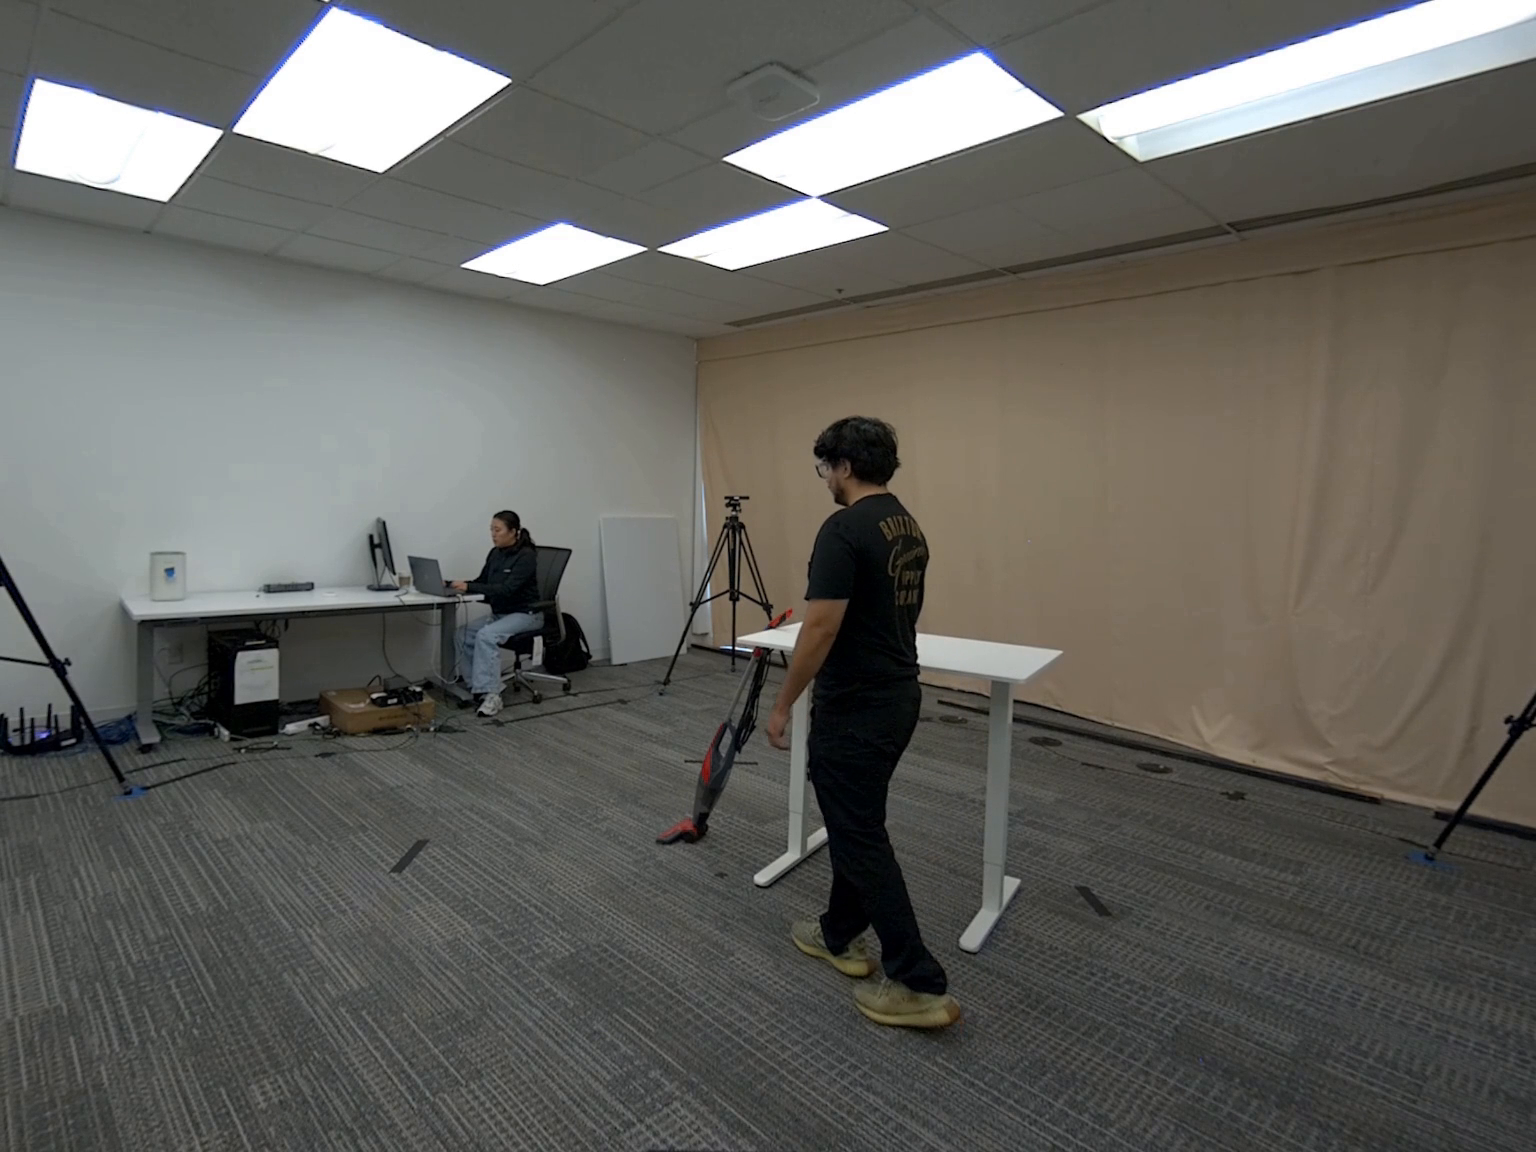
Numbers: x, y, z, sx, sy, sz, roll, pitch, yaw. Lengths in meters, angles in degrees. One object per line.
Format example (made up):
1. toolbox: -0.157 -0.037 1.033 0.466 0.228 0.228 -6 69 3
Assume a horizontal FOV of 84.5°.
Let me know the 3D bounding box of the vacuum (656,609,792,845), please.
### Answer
1. vacuum: -0.145 0.605 3.347 0.147 1.044 0.248 29 14 20
